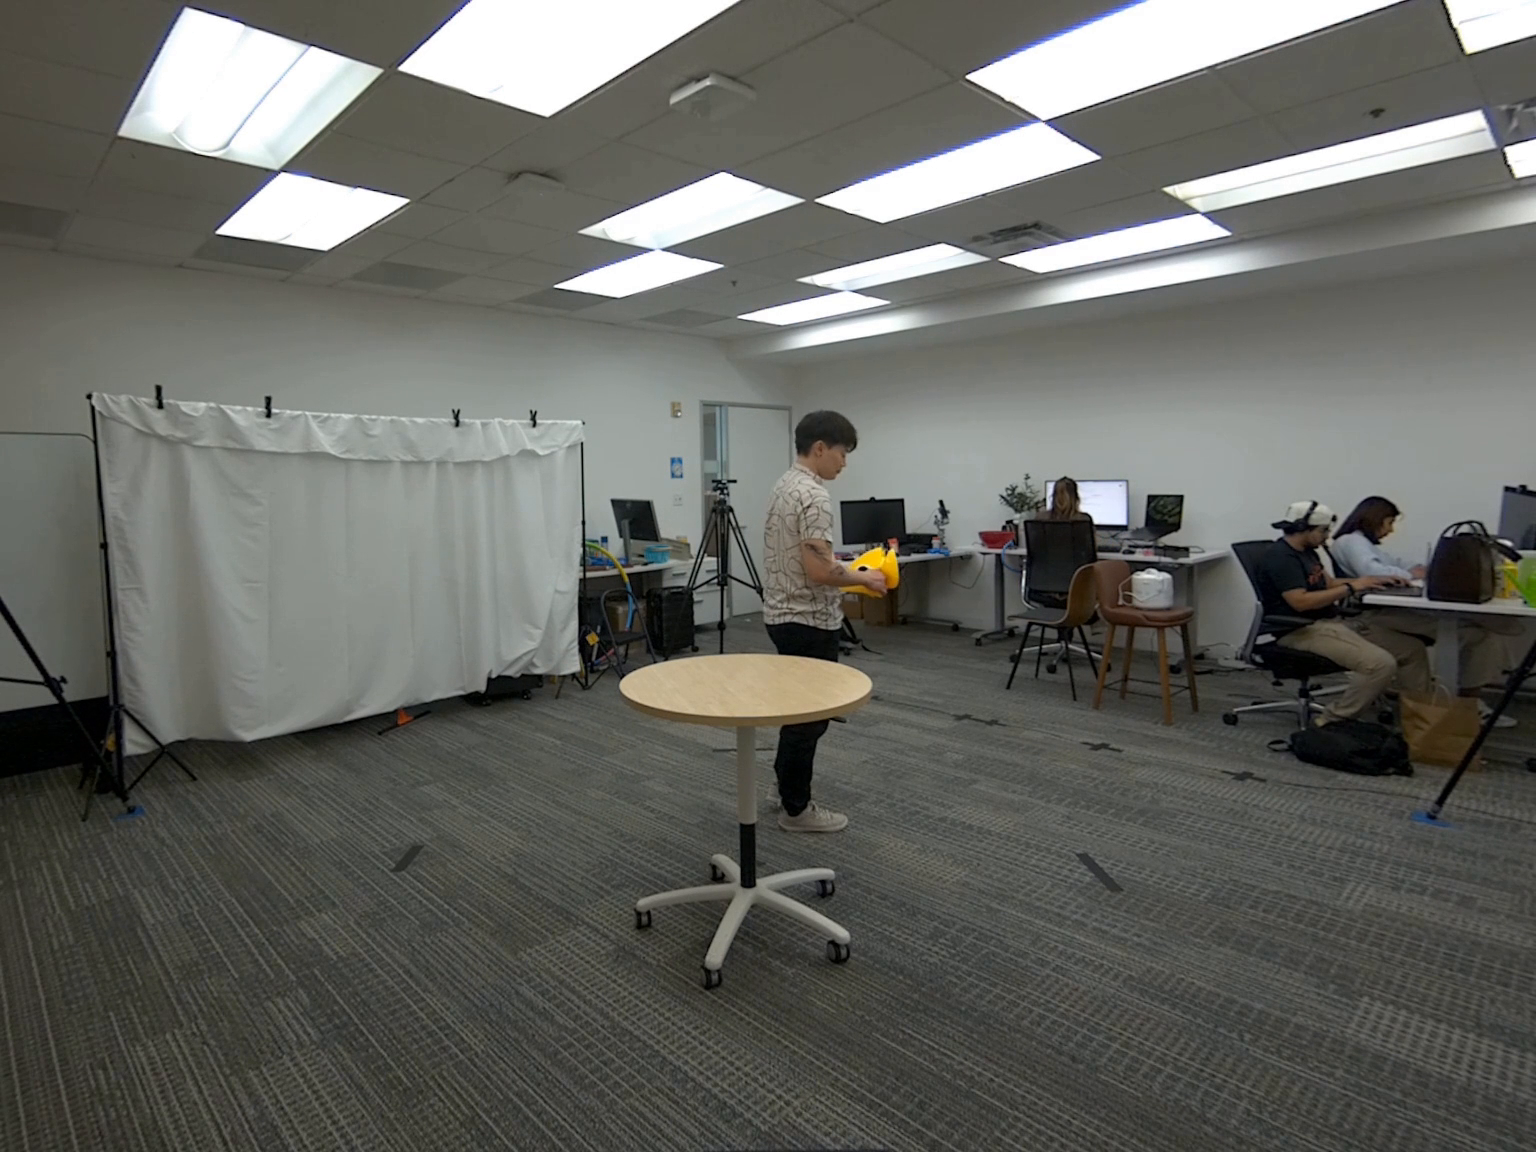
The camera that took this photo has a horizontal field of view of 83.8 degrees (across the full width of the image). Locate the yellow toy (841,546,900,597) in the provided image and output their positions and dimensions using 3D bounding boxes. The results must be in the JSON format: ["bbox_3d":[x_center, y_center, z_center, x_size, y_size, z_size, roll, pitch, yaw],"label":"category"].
[{"bbox_3d":[0.374,-0.010,3.401,0.229,0.192,0.207,-5,3,-9],"label":"yellow toy"}]
